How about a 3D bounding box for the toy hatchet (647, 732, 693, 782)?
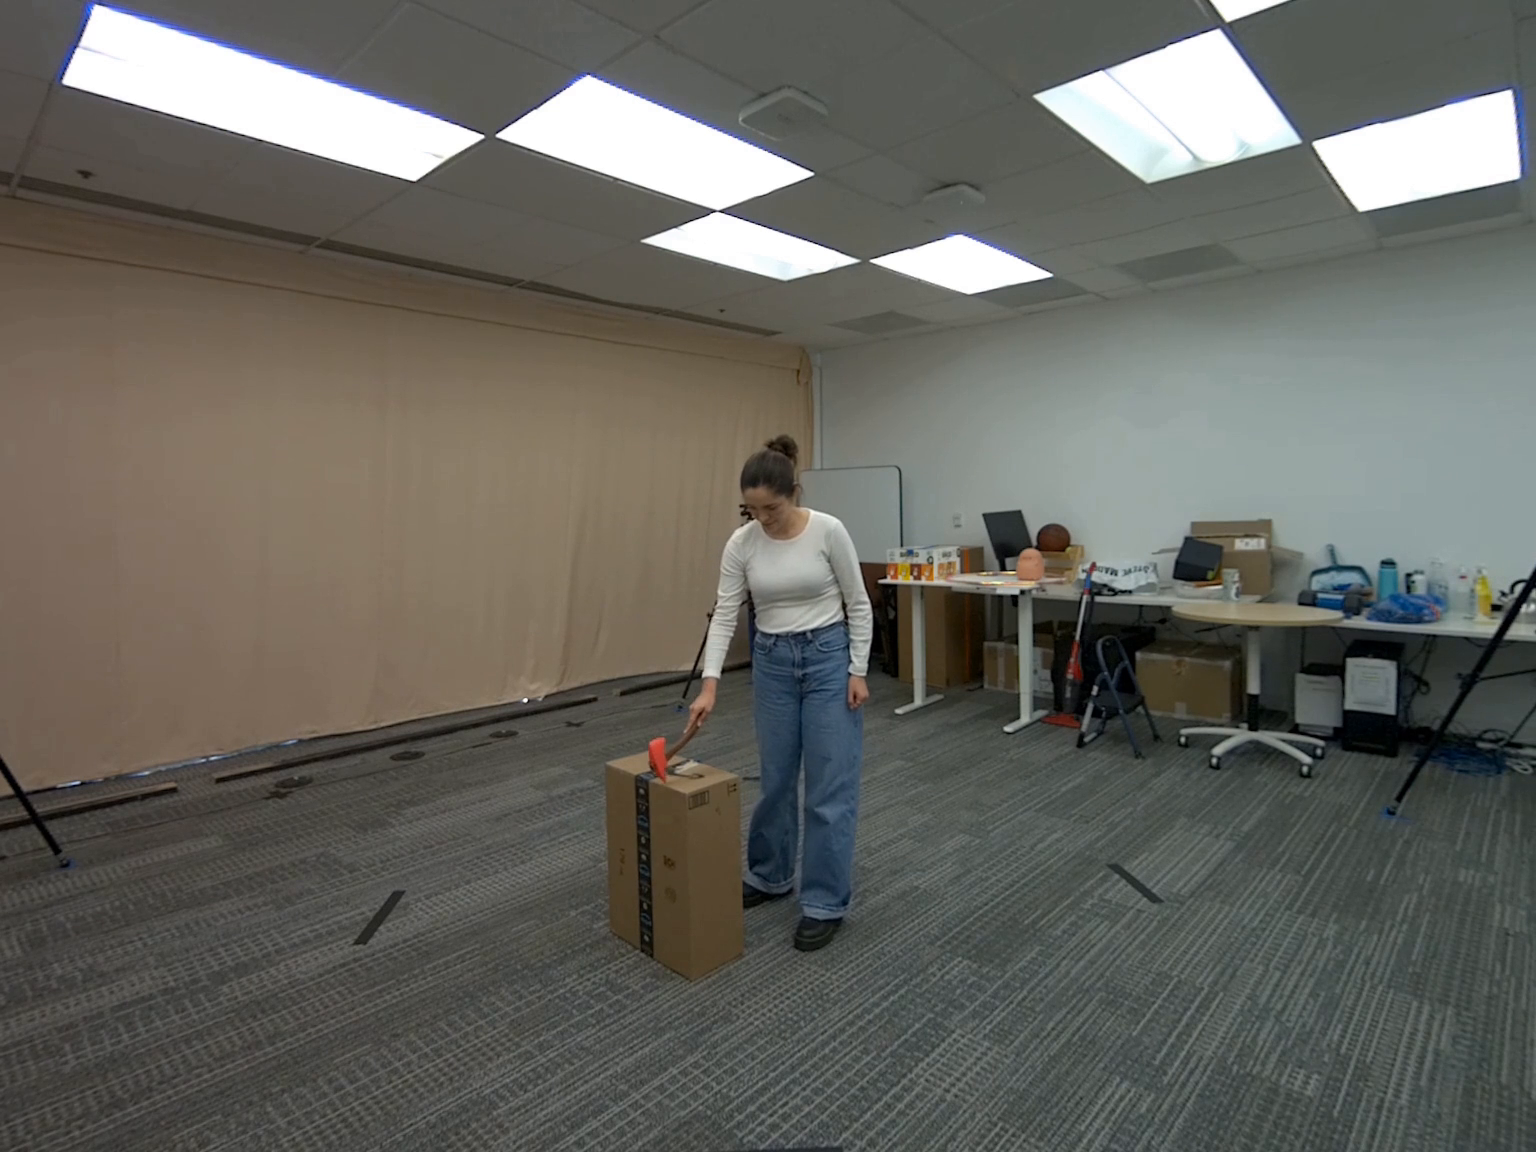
[{"bbox_3d":[-0.268,0.479,2.590,0.030,0.127,0.269,-7,37,39],"label":"toy hatchet"}]
